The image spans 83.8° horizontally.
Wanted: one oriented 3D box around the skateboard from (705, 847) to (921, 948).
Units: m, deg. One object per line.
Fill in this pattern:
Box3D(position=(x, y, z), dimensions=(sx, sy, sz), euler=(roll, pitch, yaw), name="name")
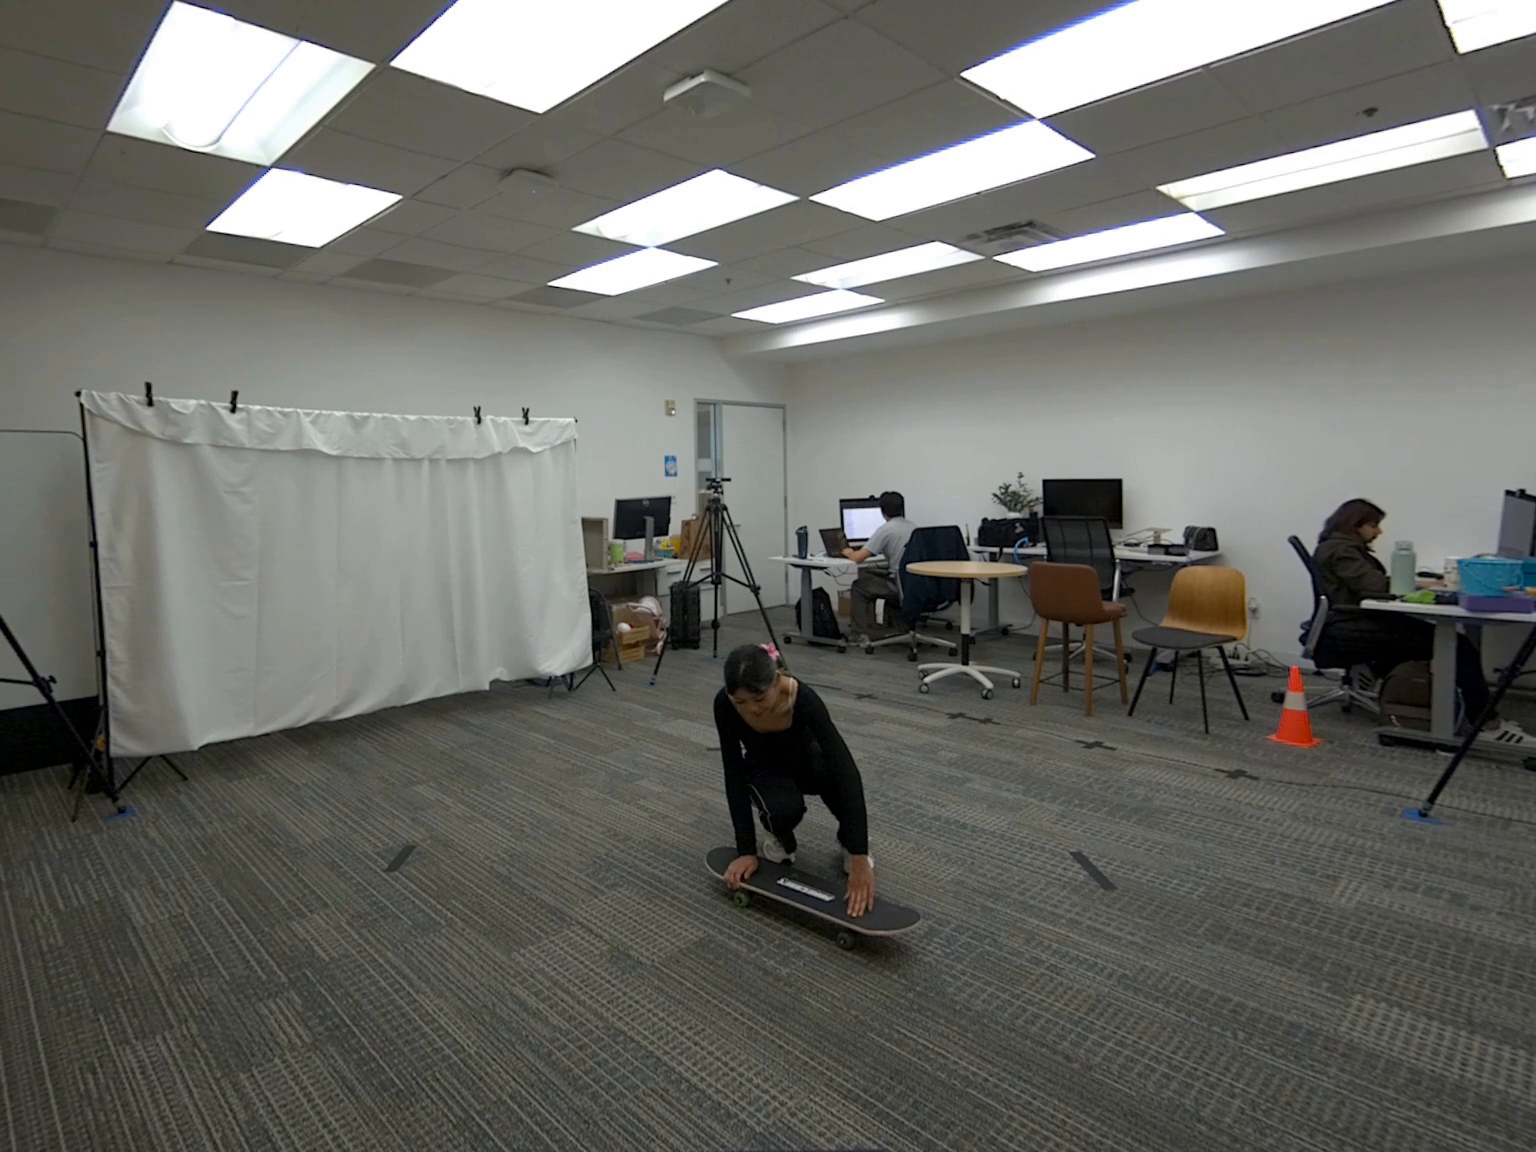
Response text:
Box3D(position=(0.115, 1.028, 2.717), dimensions=(0.809, 0.110, 0.188), euler=(4, 7, 39), name="skateboard")
